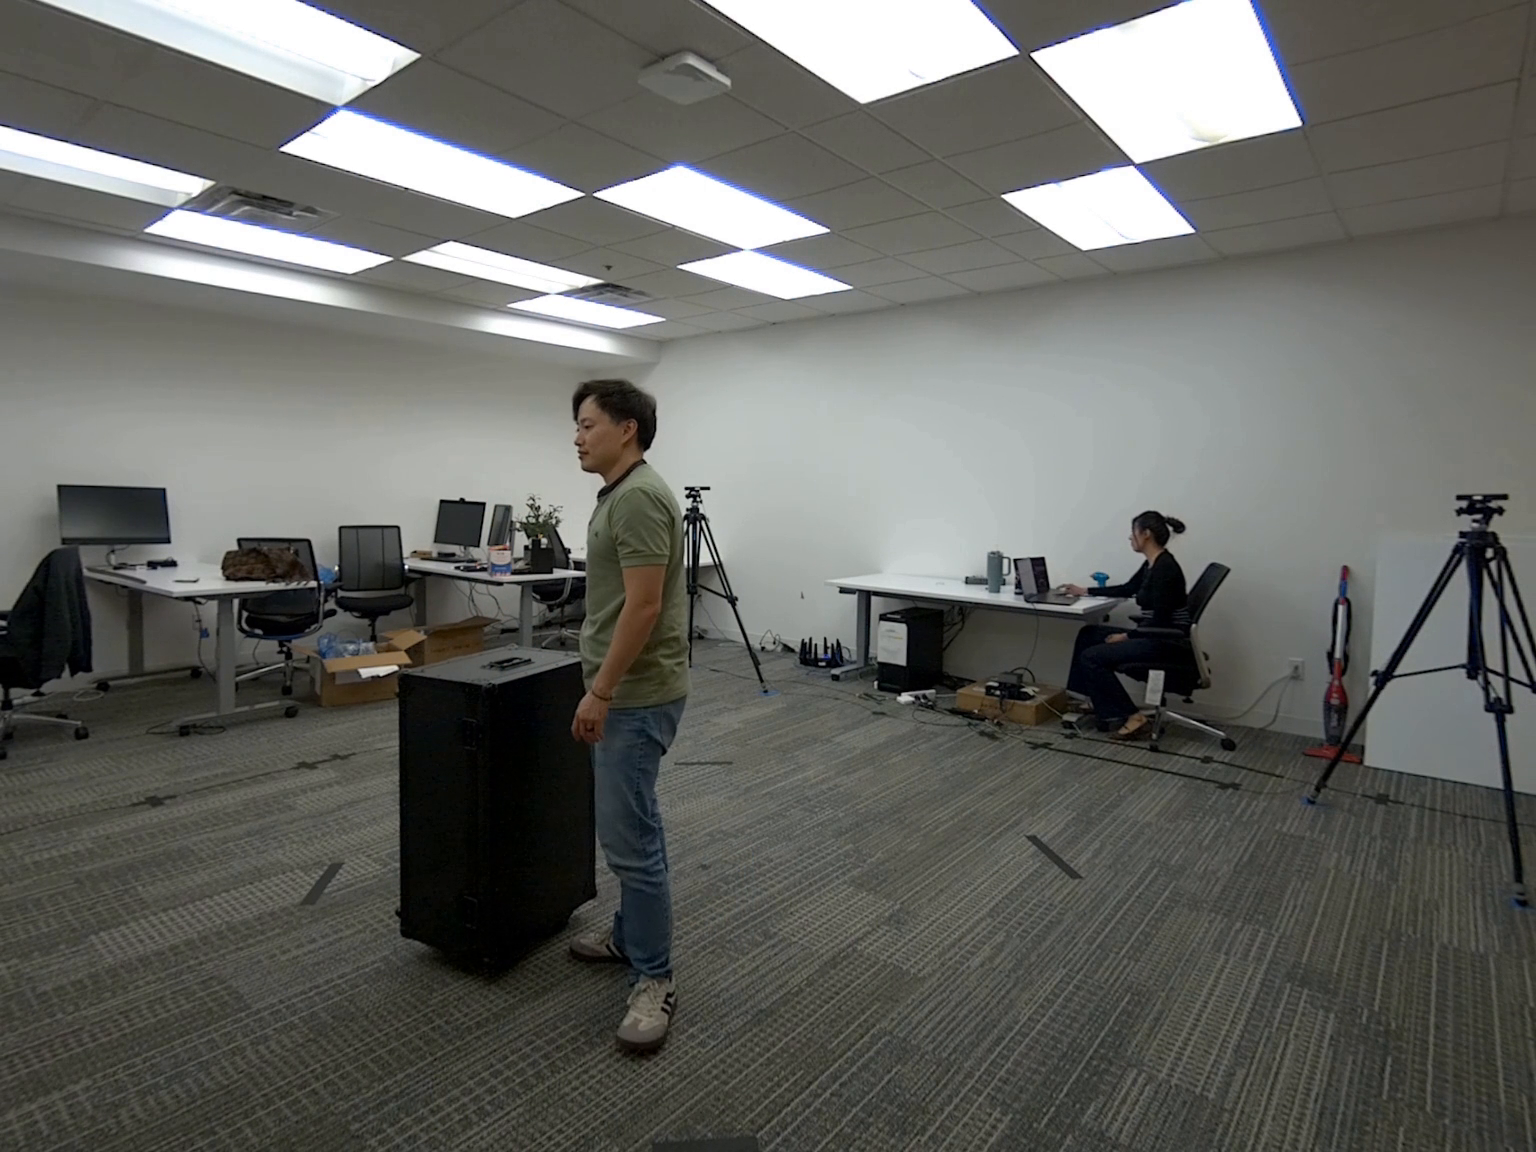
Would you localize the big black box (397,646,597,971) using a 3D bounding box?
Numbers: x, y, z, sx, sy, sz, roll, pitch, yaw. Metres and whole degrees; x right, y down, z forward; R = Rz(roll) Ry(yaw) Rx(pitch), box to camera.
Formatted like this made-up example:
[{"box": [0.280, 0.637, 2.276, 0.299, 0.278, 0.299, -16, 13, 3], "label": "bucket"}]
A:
[{"box": [-0.837, 0.685, 2.595, 0.407, 0.859, 0.509, 2, 4, 27], "label": "big black box"}]
